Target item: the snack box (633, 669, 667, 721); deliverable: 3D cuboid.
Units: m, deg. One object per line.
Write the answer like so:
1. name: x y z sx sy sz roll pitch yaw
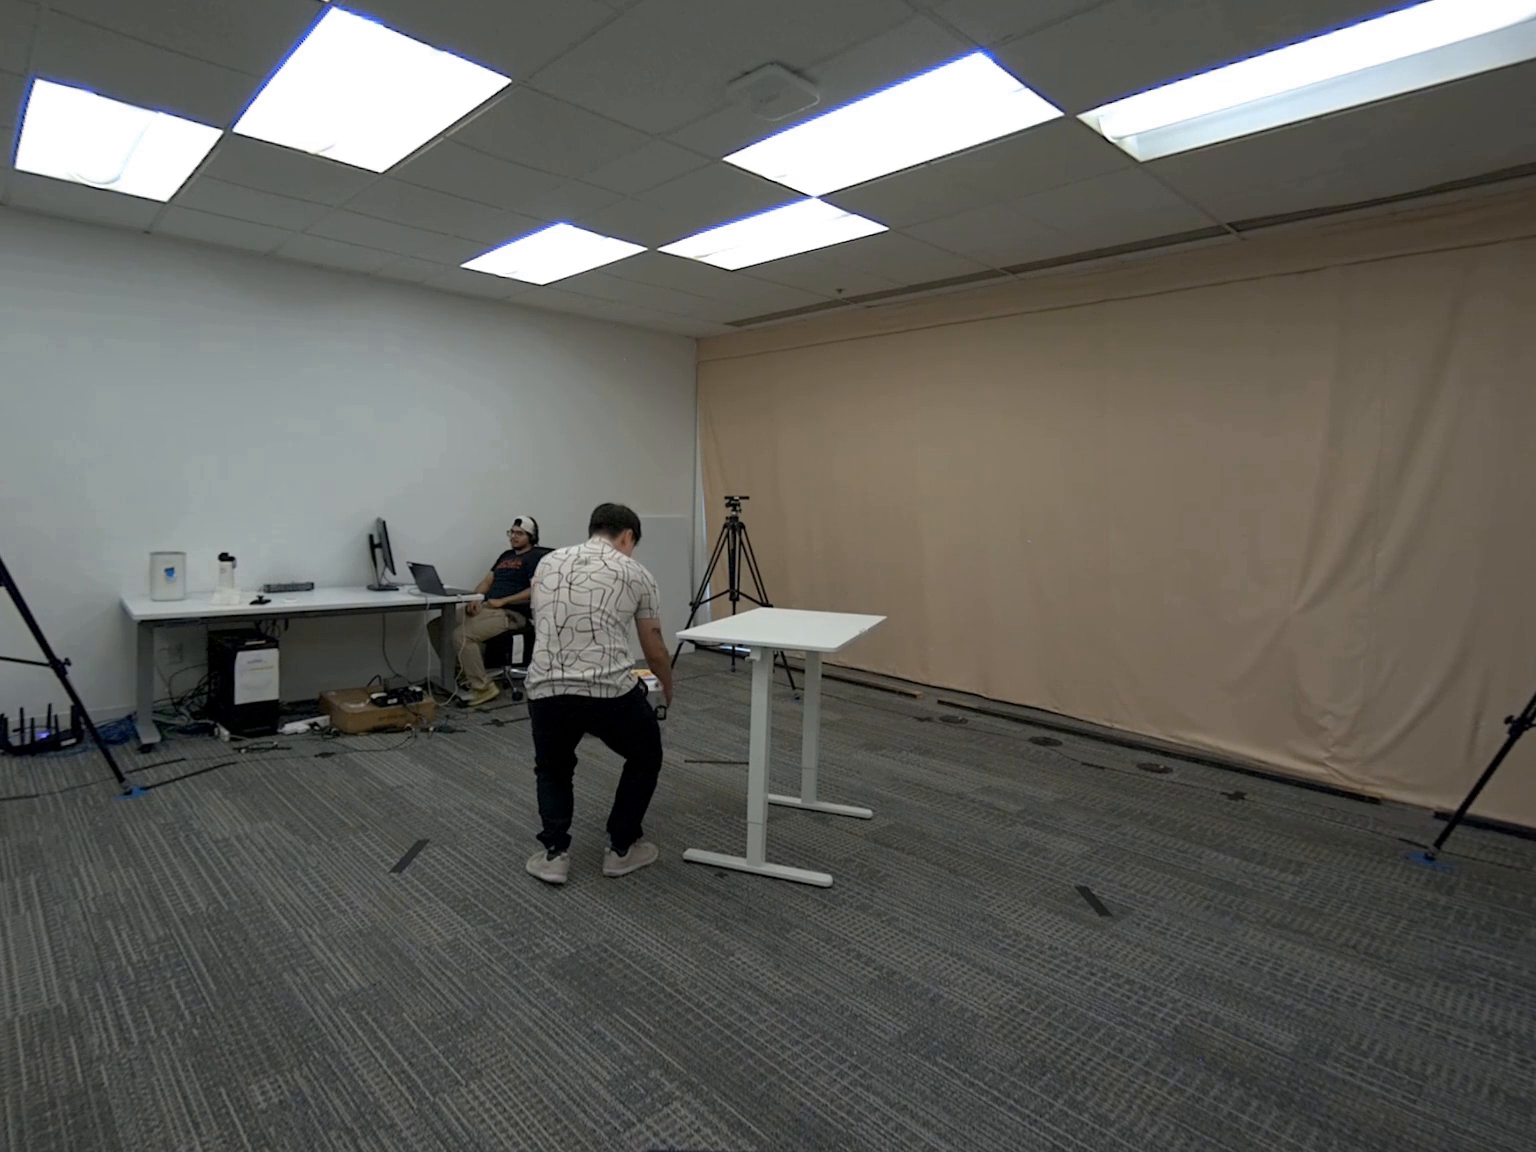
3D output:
1. snack box: -0.637 0.546 3.594 0.403 0.205 0.344 0 7 -7
